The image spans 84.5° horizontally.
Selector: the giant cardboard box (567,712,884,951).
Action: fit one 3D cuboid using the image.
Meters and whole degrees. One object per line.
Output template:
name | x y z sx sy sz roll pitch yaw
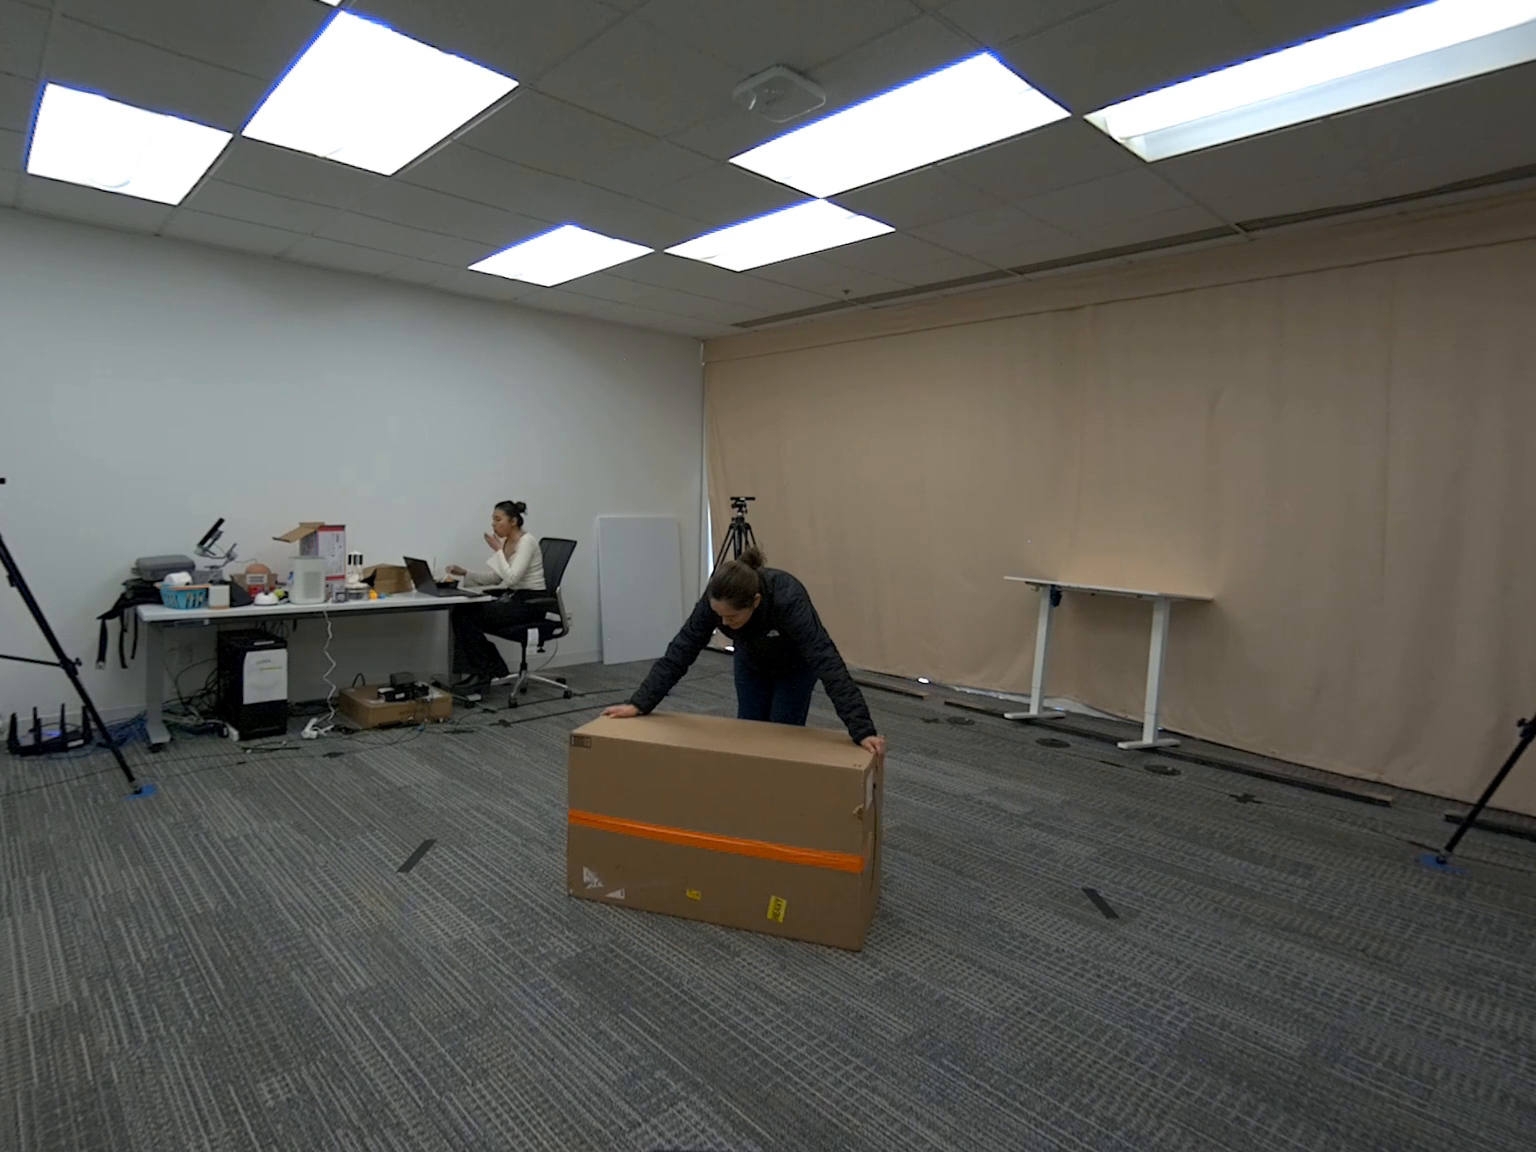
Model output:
giant cardboard box | -0.142 0.836 2.919 1.042 0.583 0.441 3 2 18
